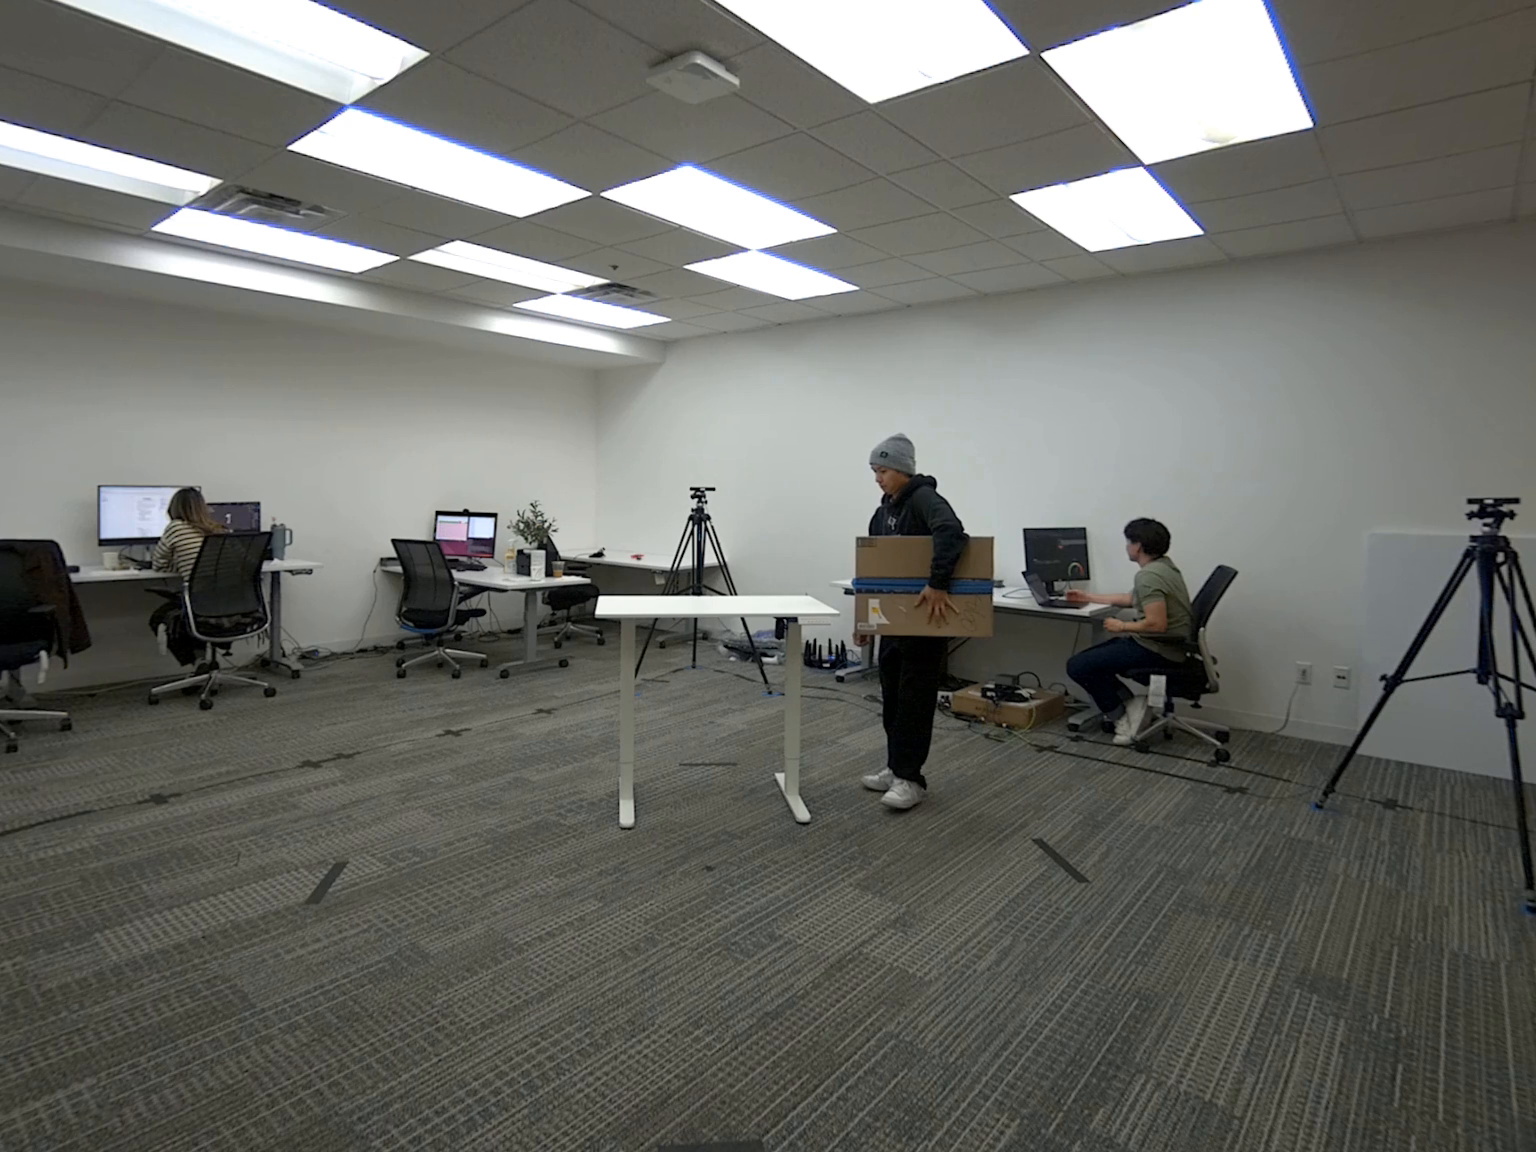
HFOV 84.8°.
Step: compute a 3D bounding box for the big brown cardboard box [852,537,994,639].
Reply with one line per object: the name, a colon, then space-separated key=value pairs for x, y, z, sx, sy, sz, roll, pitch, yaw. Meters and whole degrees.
big brown cardboard box: x=0.658 y=0.038 z=3.660 sx=0.597 sy=0.418 sz=0.229 roll=0 pitch=-2 yaw=13
